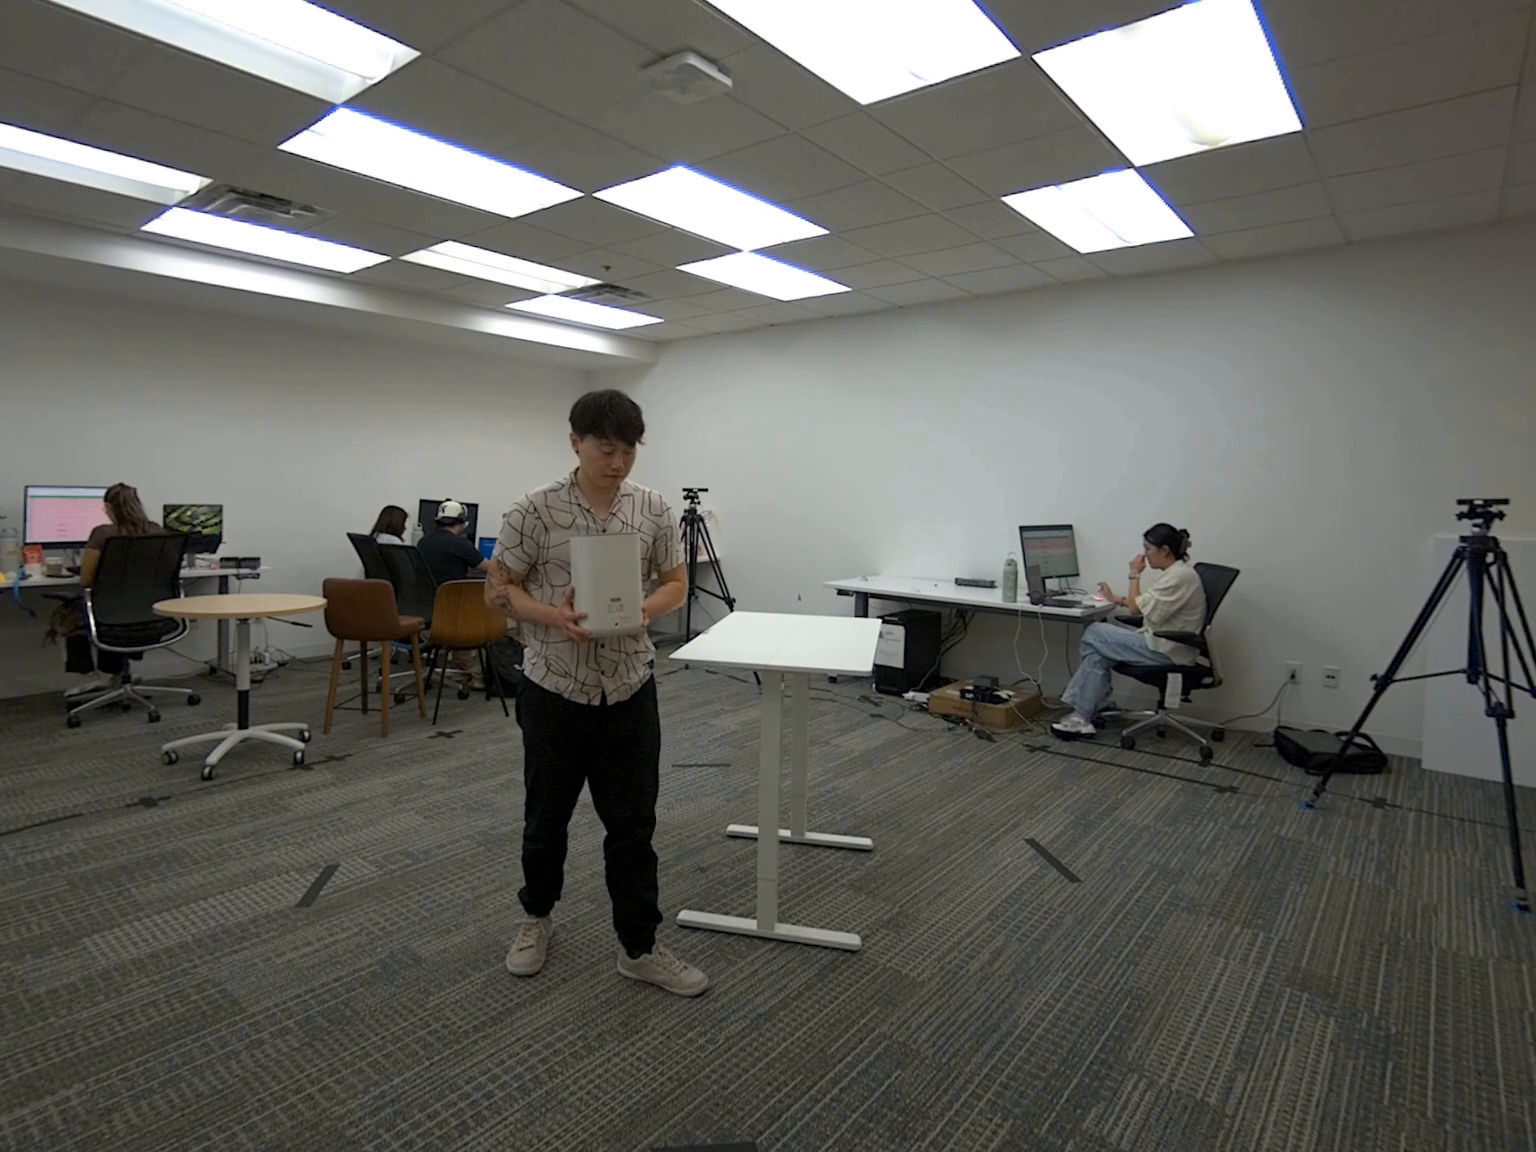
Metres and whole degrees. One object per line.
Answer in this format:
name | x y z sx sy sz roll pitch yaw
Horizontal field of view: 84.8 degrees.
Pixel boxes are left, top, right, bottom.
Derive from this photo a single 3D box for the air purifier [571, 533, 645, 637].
air purifier | -0.438 0.015 2.228 0.167 0.265 0.176 -1 0 -26
